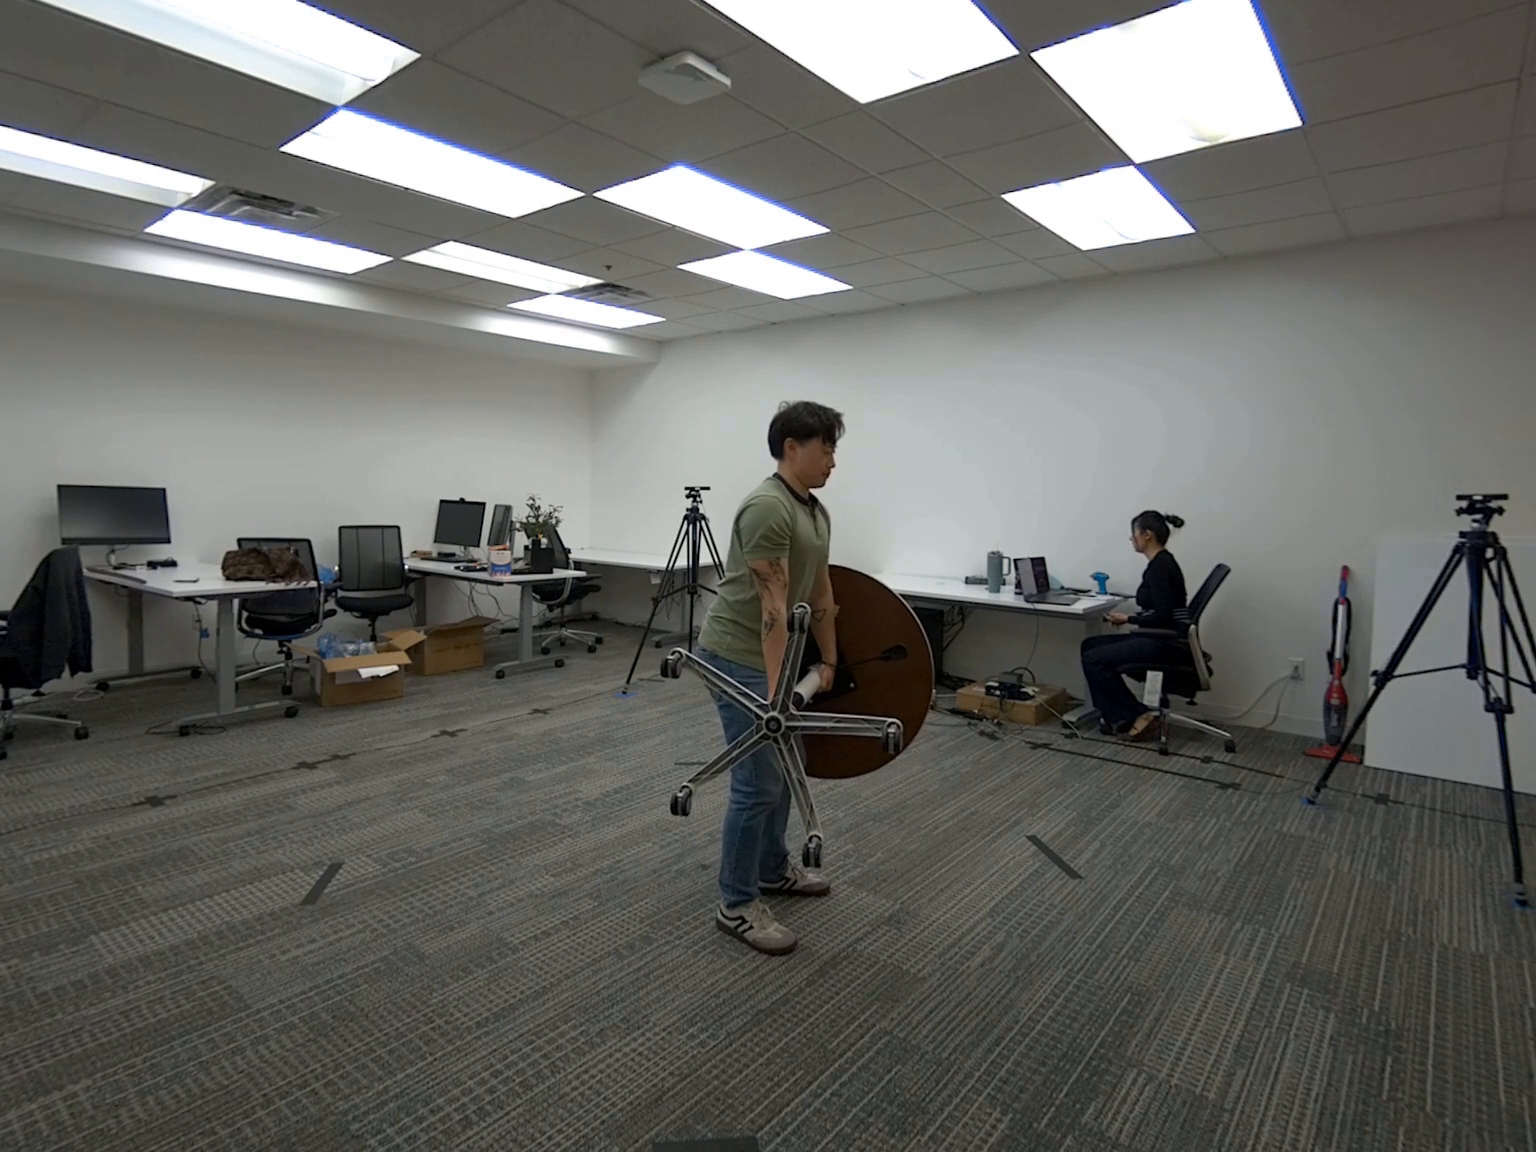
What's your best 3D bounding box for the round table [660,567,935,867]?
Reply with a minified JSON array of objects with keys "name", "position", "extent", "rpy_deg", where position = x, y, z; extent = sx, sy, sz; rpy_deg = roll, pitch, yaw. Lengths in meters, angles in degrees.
[{"name":"round table","position":[0.090,0.391,2.633],"extent":[0.778,0.760,0.783],"rpy_deg":[2,6,16]}]
